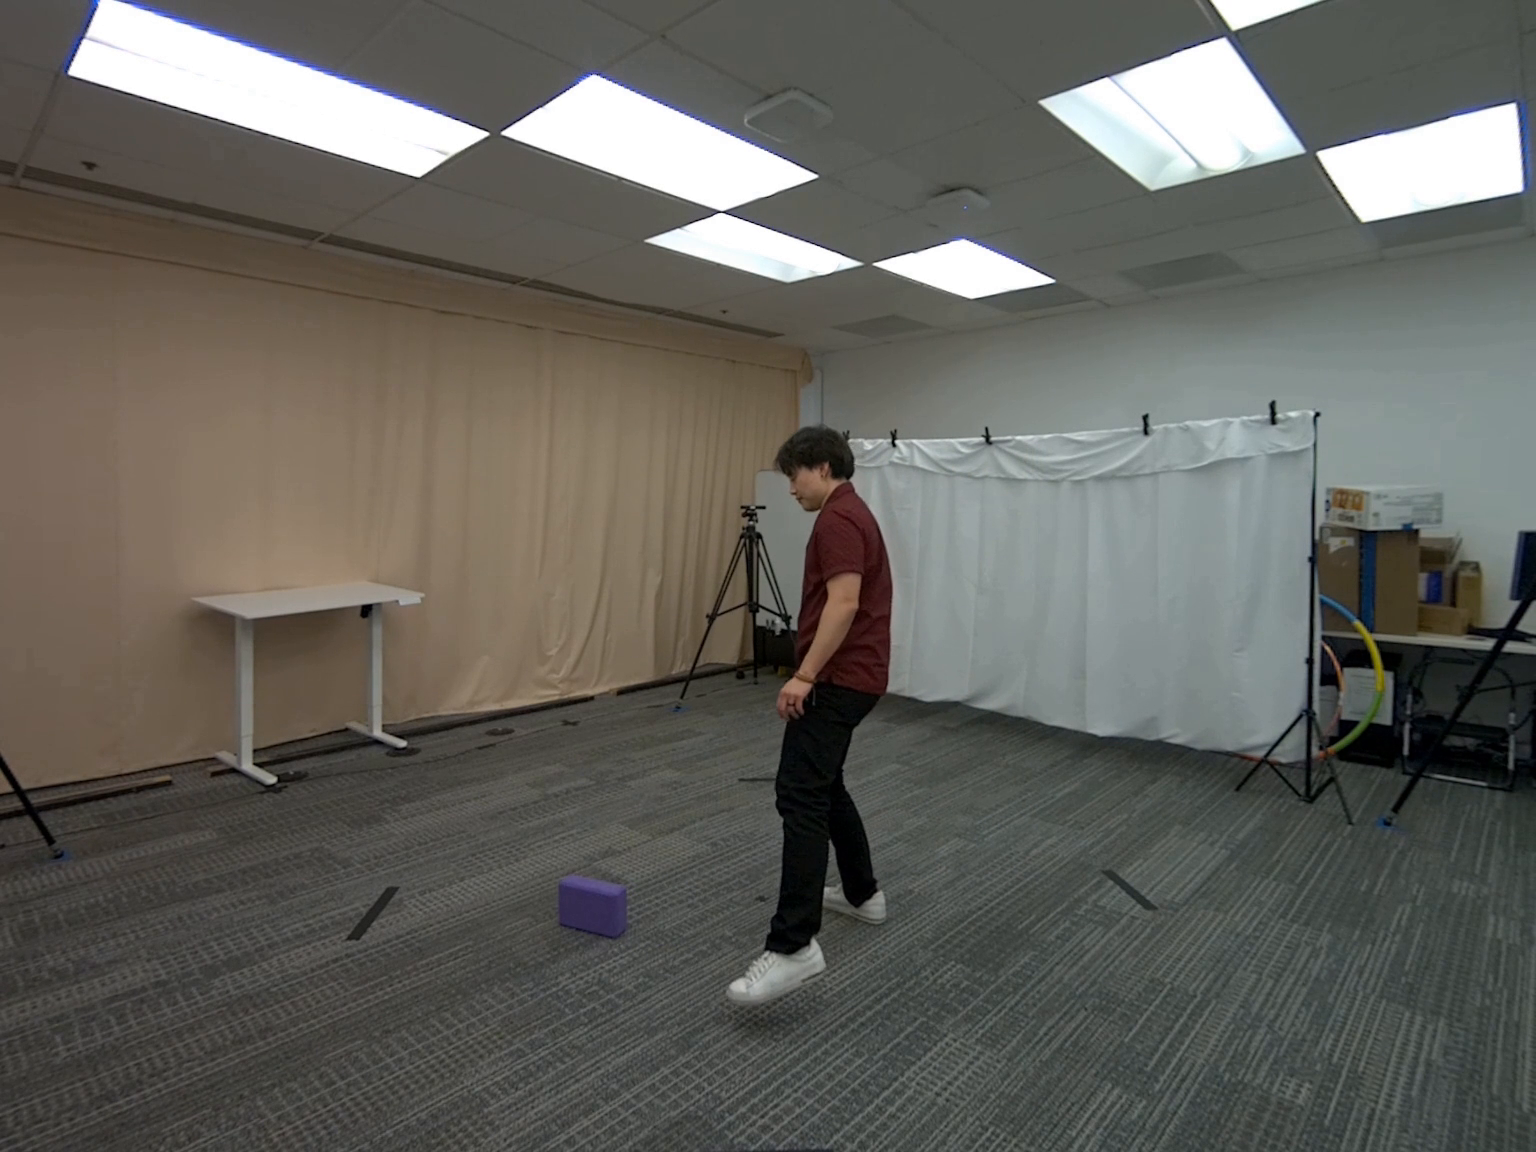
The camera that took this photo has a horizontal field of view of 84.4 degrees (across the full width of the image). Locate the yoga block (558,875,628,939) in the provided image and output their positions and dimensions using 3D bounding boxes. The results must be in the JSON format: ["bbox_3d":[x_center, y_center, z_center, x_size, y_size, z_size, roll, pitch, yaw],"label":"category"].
[{"bbox_3d":[-0.579,1.096,2.782,0.235,0.149,0.075,1,3,25],"label":"yoga block"}]
